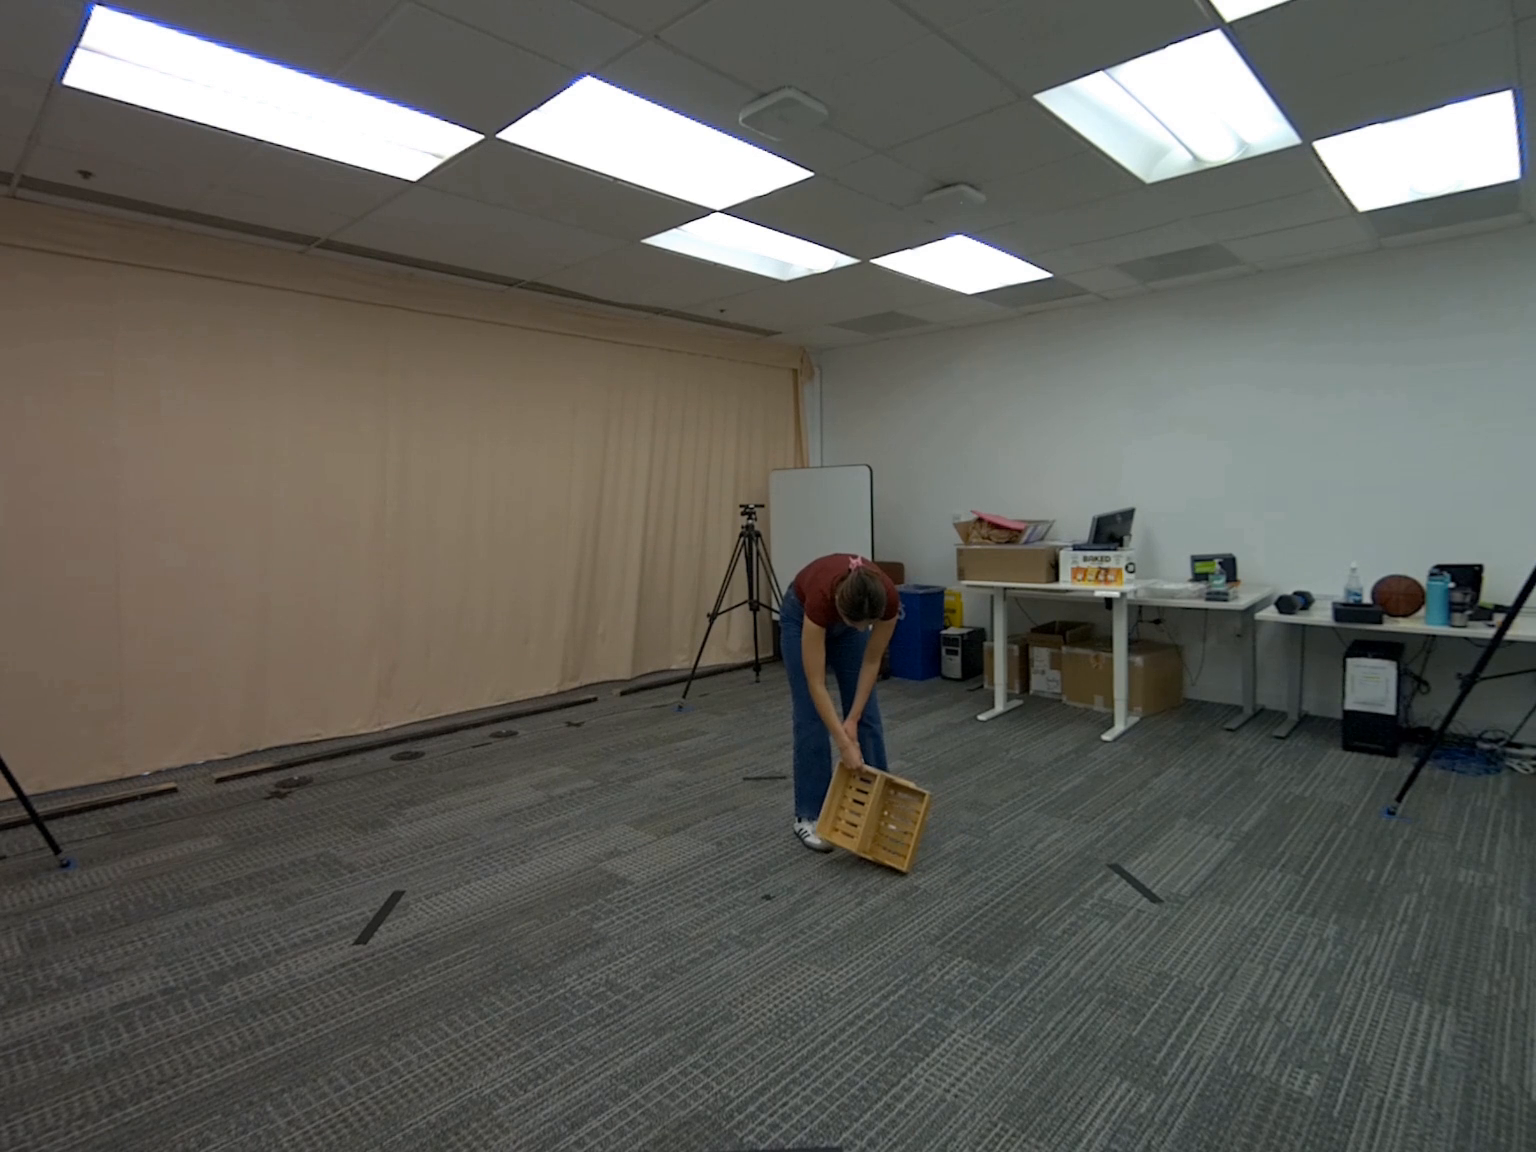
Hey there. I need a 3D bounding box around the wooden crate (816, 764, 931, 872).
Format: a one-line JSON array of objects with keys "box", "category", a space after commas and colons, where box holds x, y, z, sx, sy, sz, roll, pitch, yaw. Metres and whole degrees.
[{"box": [0.408, 0.911, 3.223, 0.265, 0.325, 0.310, 26, -12, -28], "category": "wooden crate"}]
